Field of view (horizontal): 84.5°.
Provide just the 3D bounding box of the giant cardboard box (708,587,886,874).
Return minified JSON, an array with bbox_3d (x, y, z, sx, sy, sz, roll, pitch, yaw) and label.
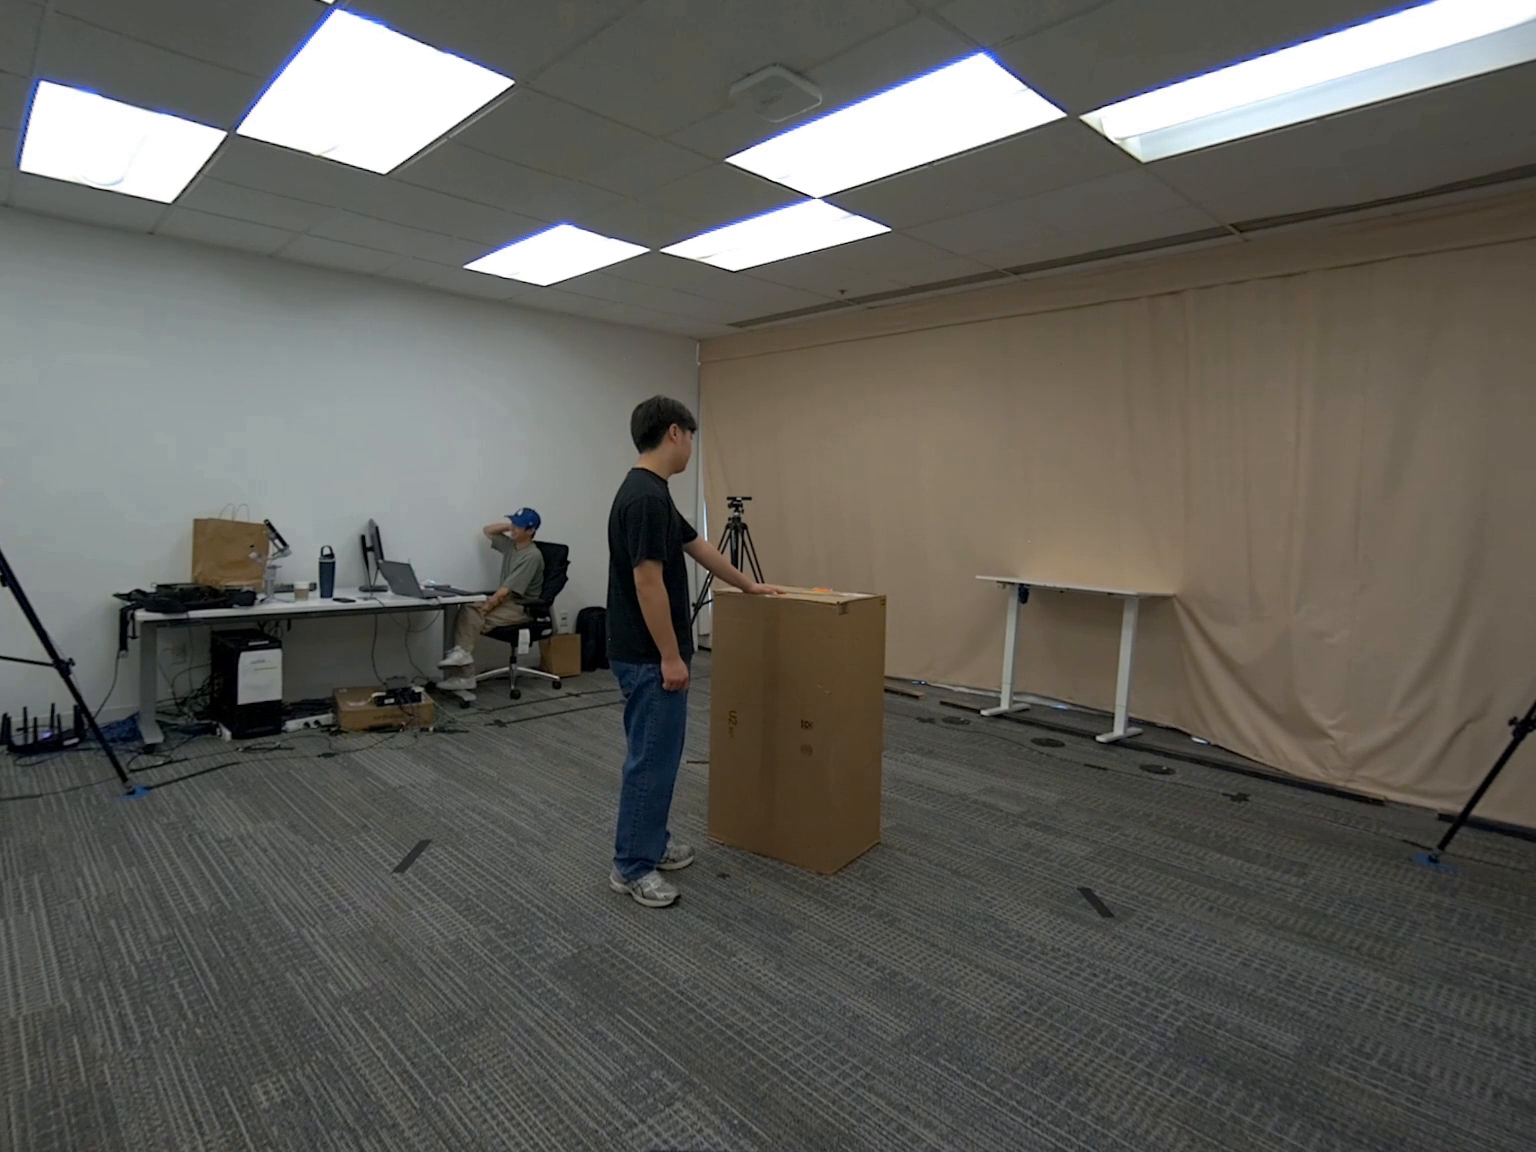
[{"bbox_3d":[0.116,0.572,3.432,0.598,1.025,0.437,4,3,35],"label":"giant cardboard box"}]
